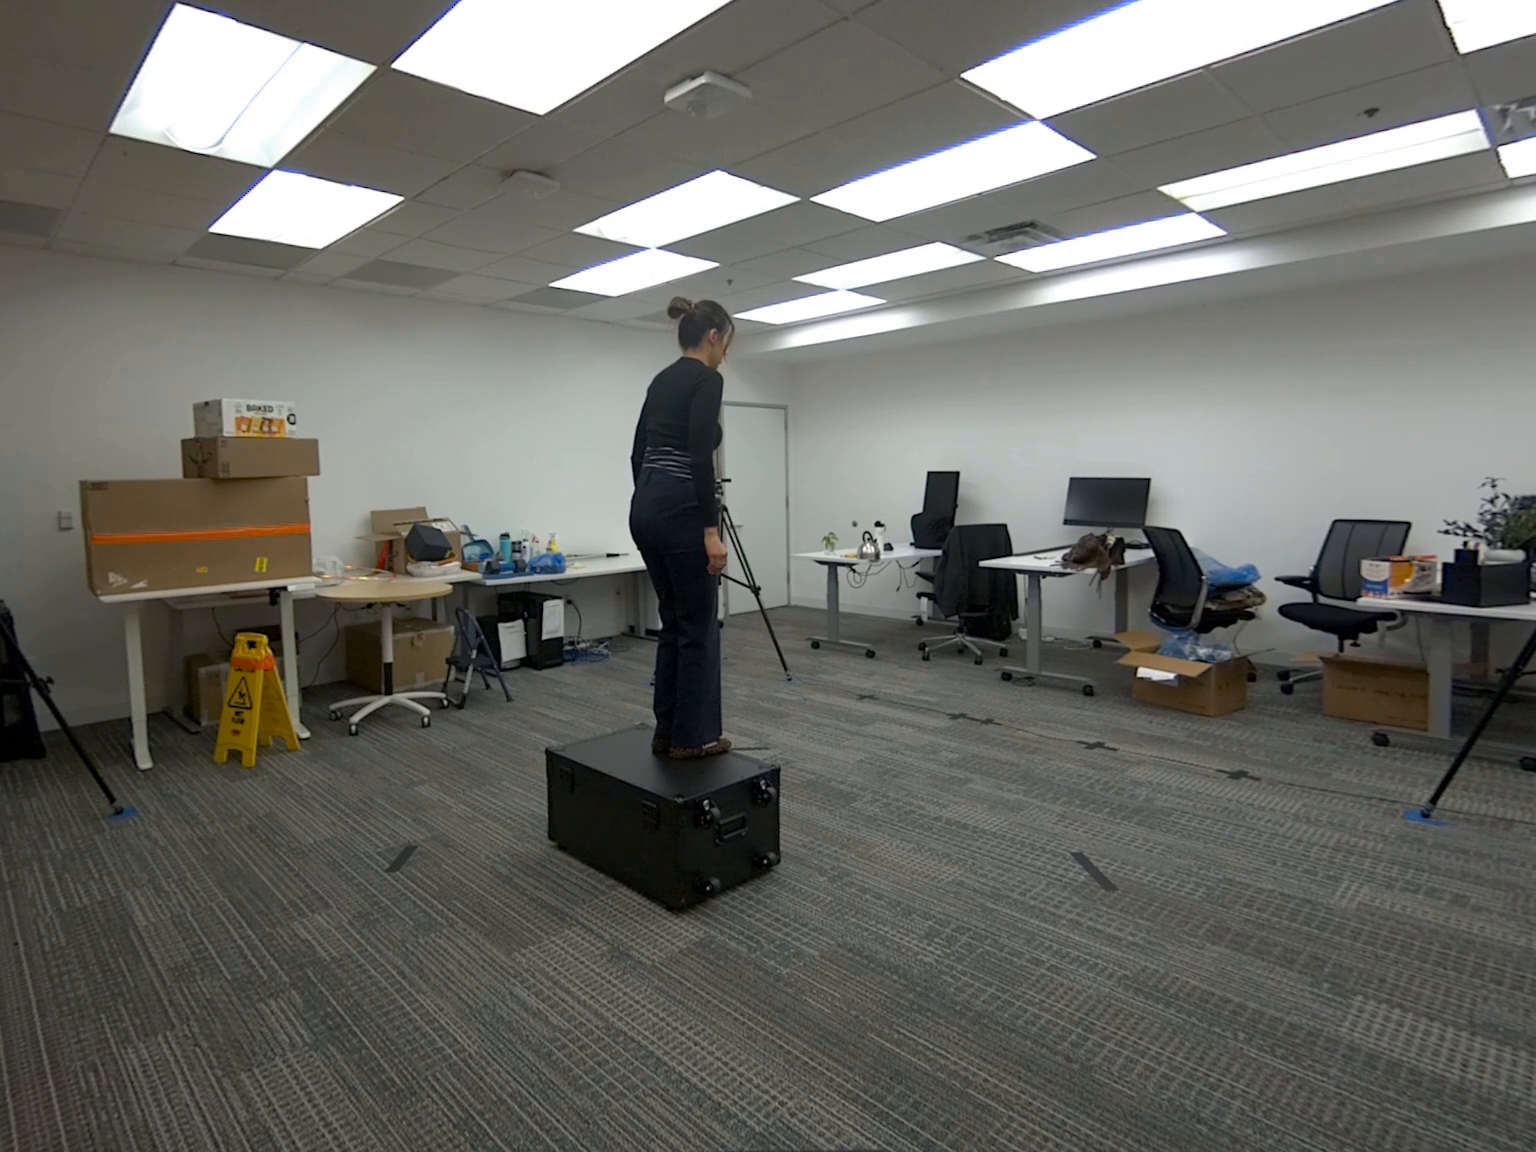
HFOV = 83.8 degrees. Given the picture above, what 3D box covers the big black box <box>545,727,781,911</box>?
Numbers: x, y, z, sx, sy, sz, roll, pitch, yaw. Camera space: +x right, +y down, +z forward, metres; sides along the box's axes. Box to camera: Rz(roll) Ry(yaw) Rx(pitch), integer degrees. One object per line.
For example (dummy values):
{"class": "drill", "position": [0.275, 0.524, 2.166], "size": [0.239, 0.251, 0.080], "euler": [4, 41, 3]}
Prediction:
{"class": "big black box", "position": [-0.416, 0.851, 3.186], "size": [0.507, 0.394, 0.888], "euler": [-5, 8, -45]}
